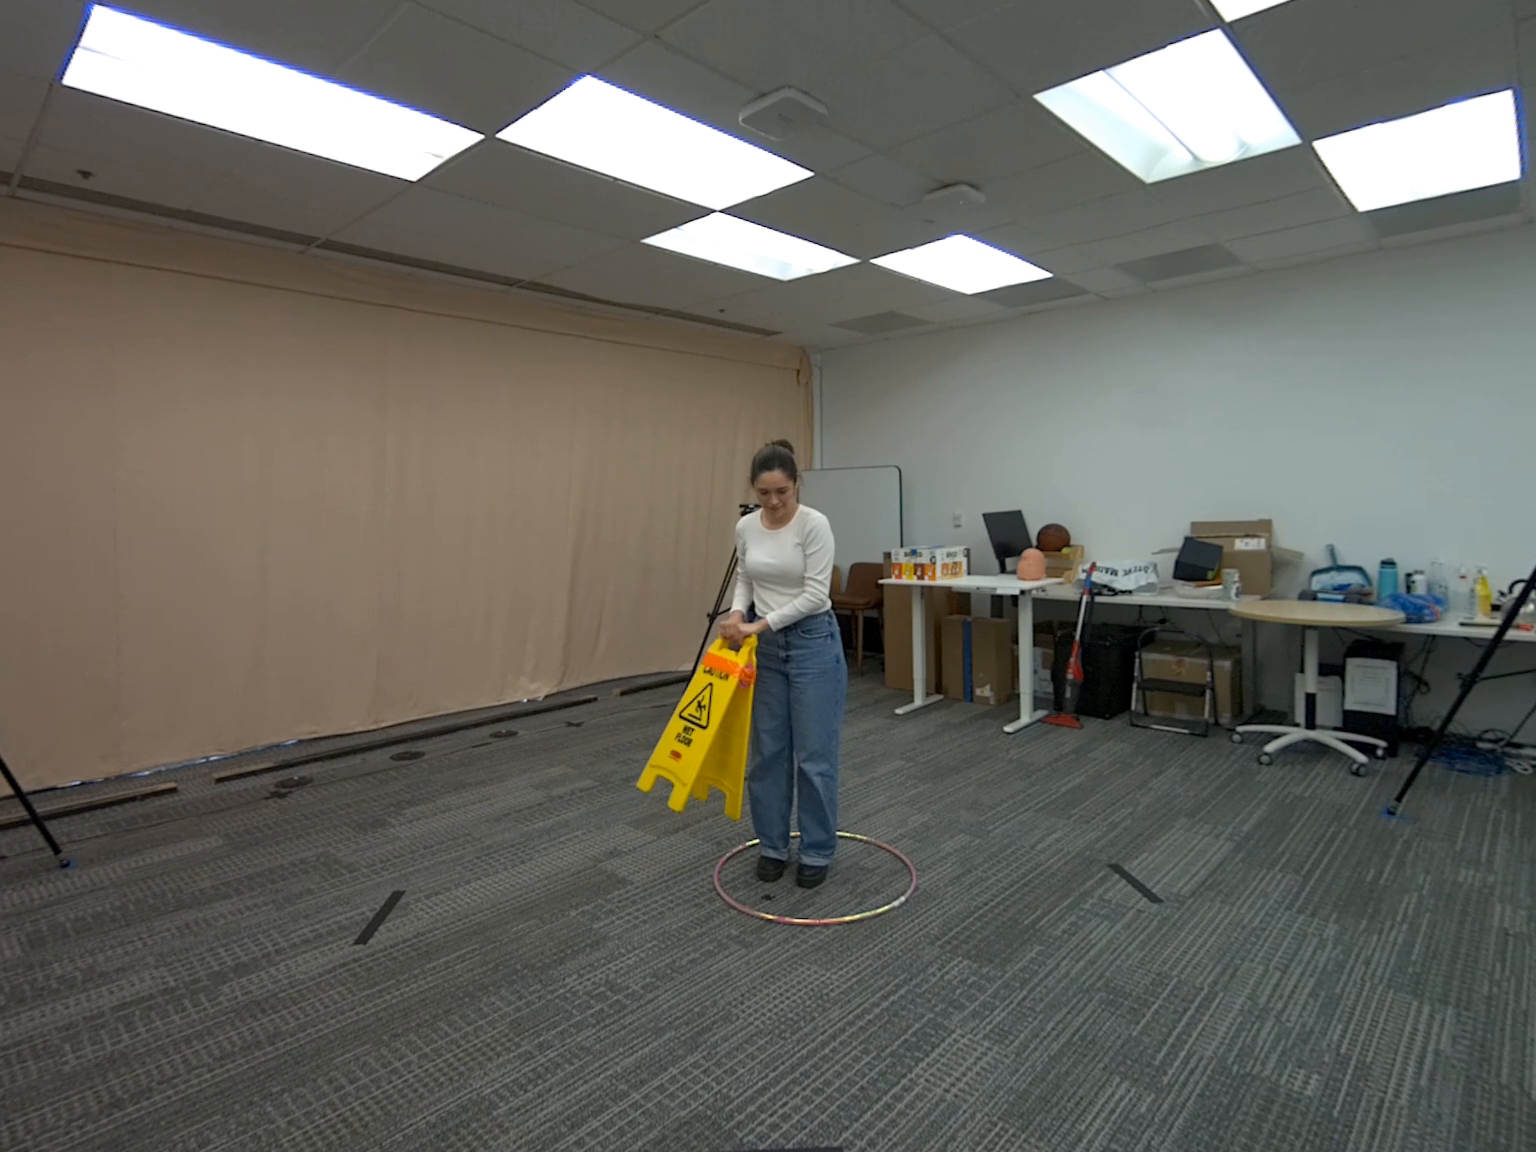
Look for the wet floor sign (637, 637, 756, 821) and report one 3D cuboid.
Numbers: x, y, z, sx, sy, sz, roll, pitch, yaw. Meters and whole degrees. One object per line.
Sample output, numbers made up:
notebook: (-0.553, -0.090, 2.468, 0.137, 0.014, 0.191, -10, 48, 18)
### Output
wet floor sign: (-0.180, 0.504, 3.026, 0.279, 0.647, 0.292, 21, -7, -38)
